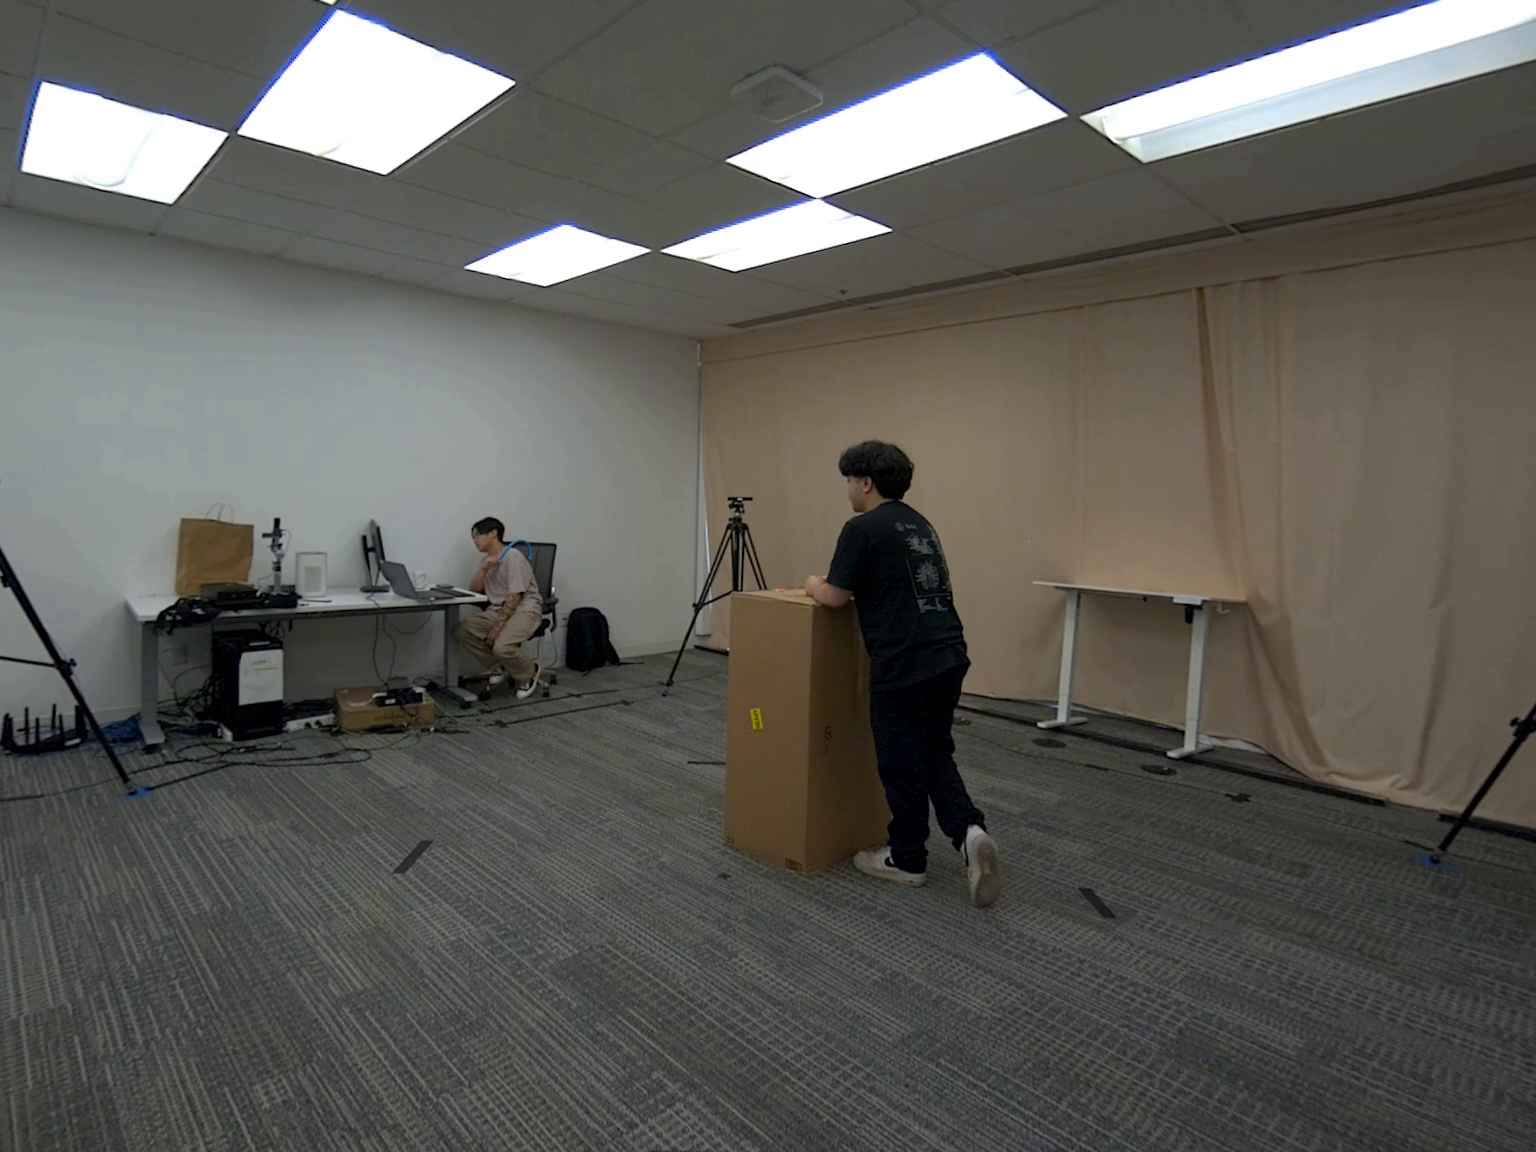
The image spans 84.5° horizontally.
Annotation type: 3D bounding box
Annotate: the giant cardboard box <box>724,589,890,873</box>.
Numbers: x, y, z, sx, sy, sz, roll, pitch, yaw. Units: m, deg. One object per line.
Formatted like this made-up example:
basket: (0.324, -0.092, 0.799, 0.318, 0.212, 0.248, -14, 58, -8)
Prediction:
giant cardboard box: (0.171, 0.577, 3.439, 0.458, 1.025, 0.570, 3, 3, 44)
